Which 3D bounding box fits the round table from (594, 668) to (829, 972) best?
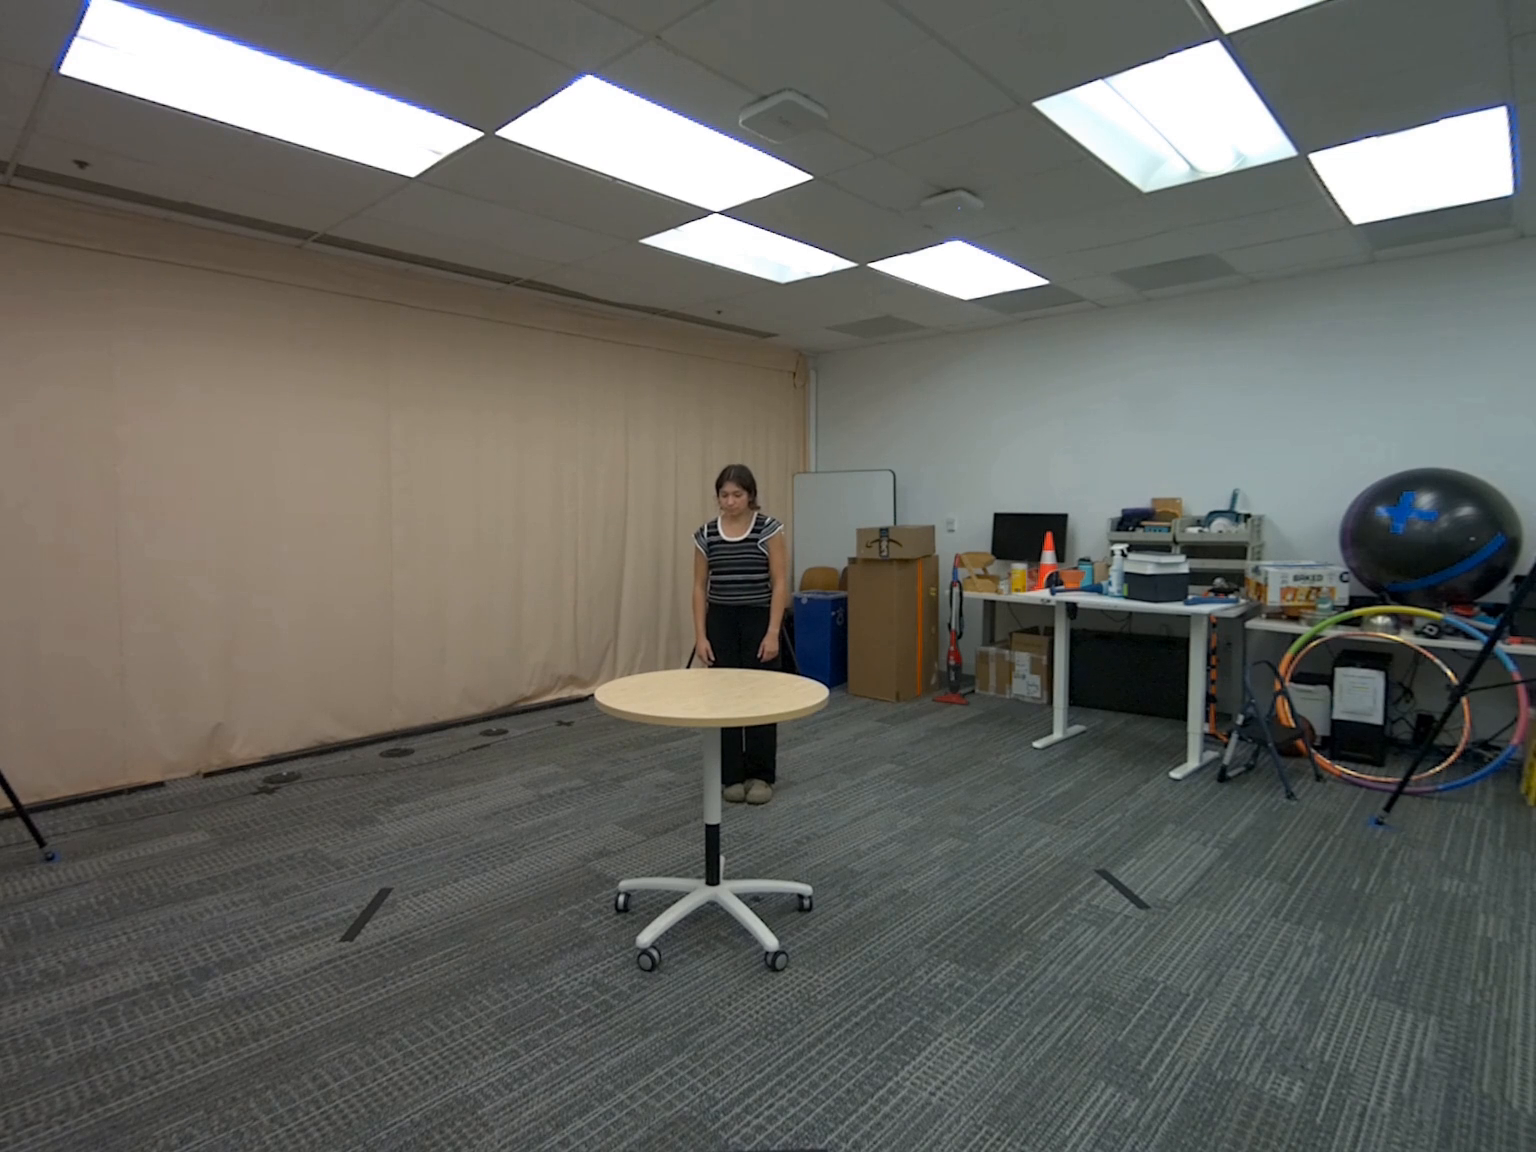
[{"bbox_3d":[-0.165,0.763,2.786,0.784,0.785,0.787,0,3,-2],"label":"round table"}]
